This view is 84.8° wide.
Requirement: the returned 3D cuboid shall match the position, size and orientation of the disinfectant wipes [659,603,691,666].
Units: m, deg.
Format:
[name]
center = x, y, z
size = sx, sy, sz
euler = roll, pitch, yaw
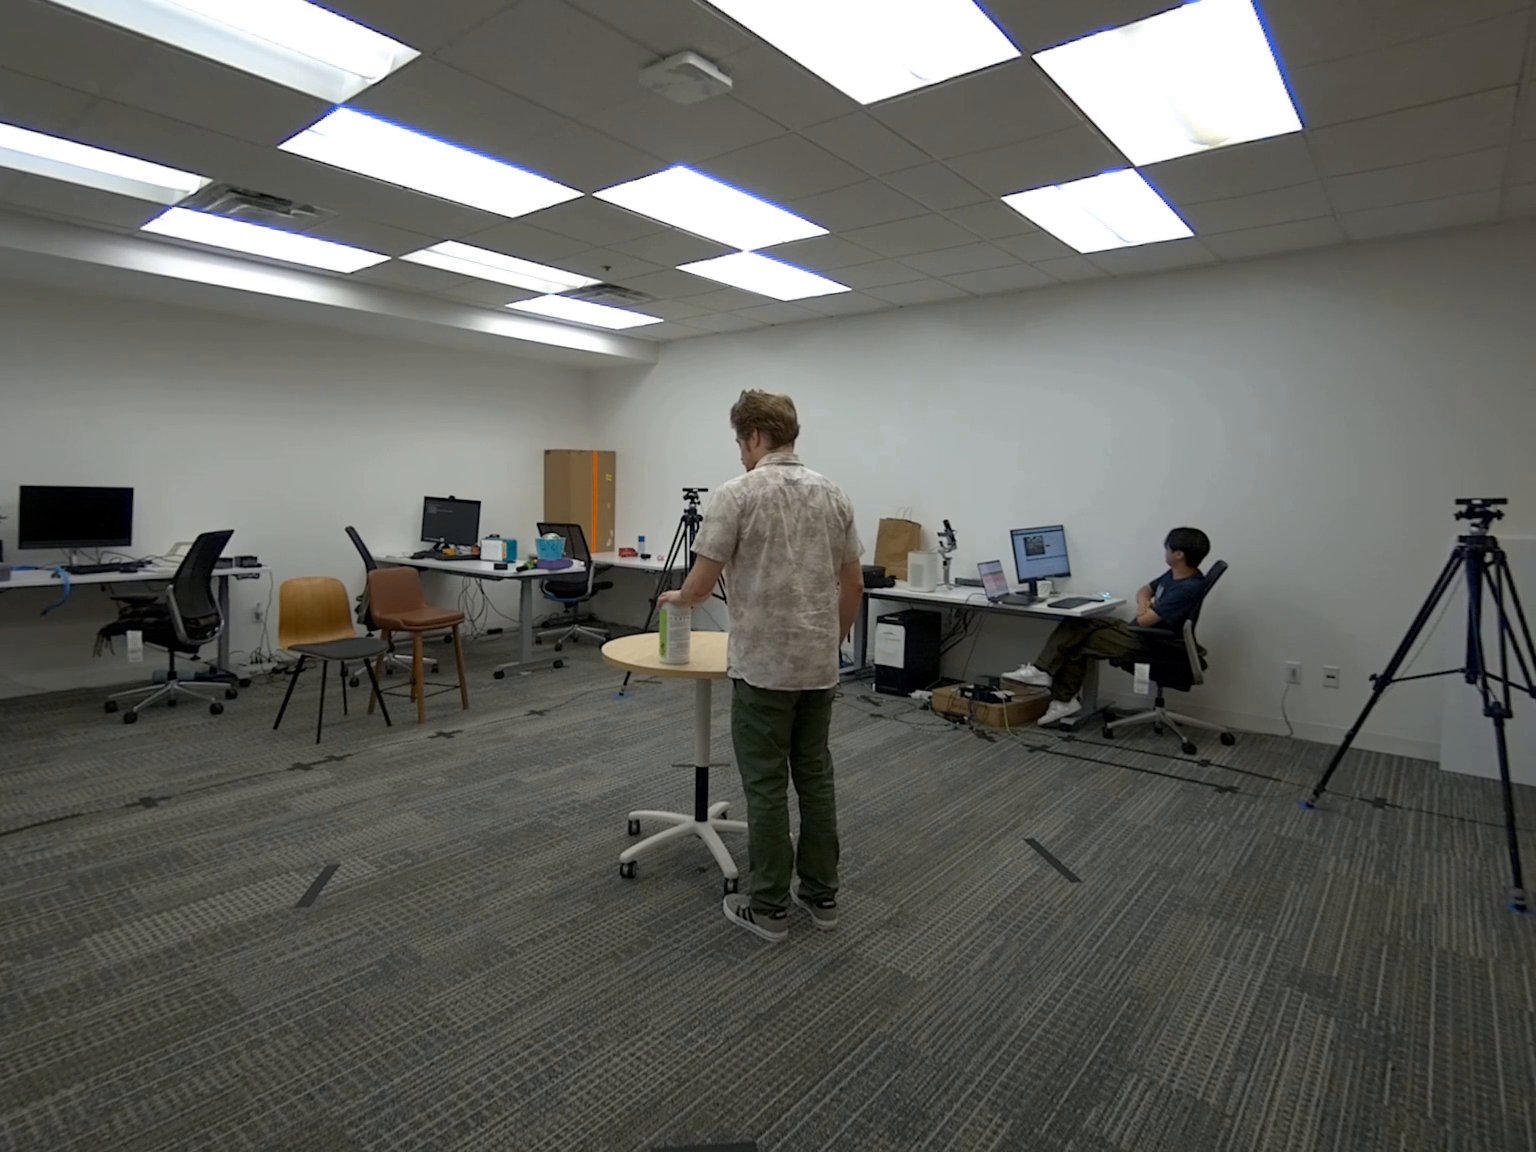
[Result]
[disinfectant wipes]
center = -0.328, 0.189, 2.939
size = 0.118, 0.217, 0.118
euler = 0, 4, -2
